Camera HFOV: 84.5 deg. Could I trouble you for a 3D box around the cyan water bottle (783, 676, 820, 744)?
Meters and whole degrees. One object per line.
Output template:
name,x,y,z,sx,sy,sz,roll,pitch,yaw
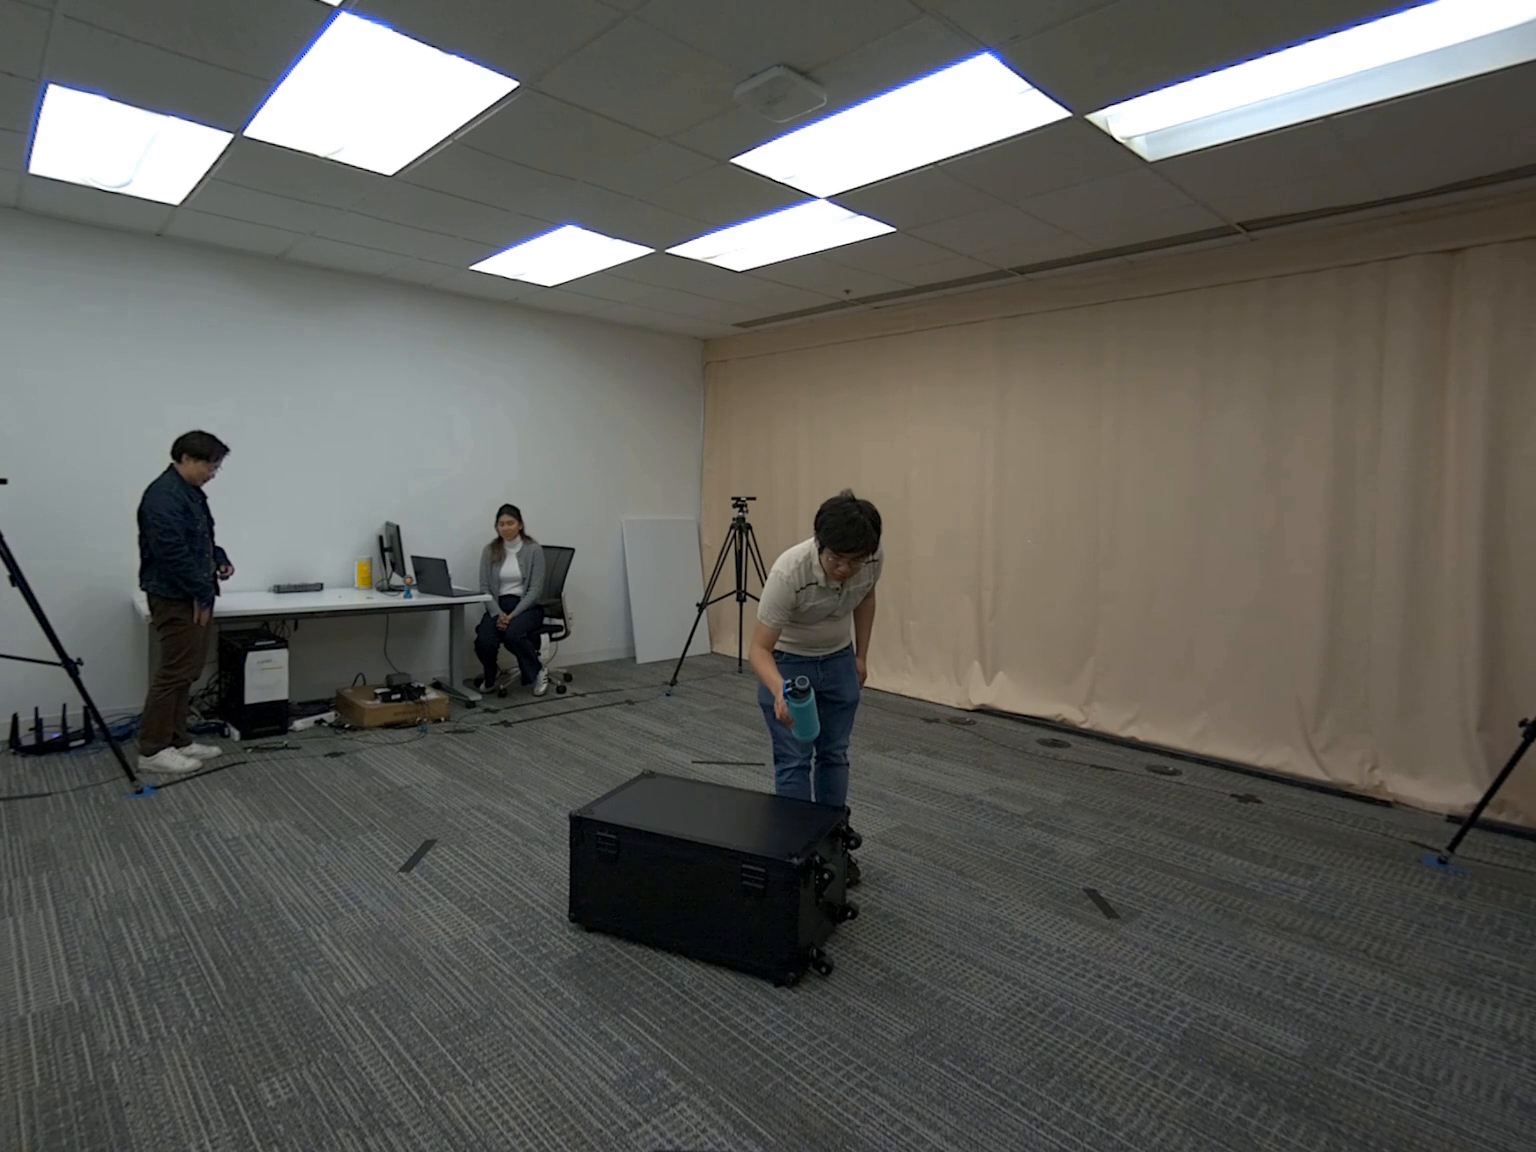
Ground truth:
cyan water bottle,0.088,0.407,2.568,0.093,0.093,0.275,3,-39,16
